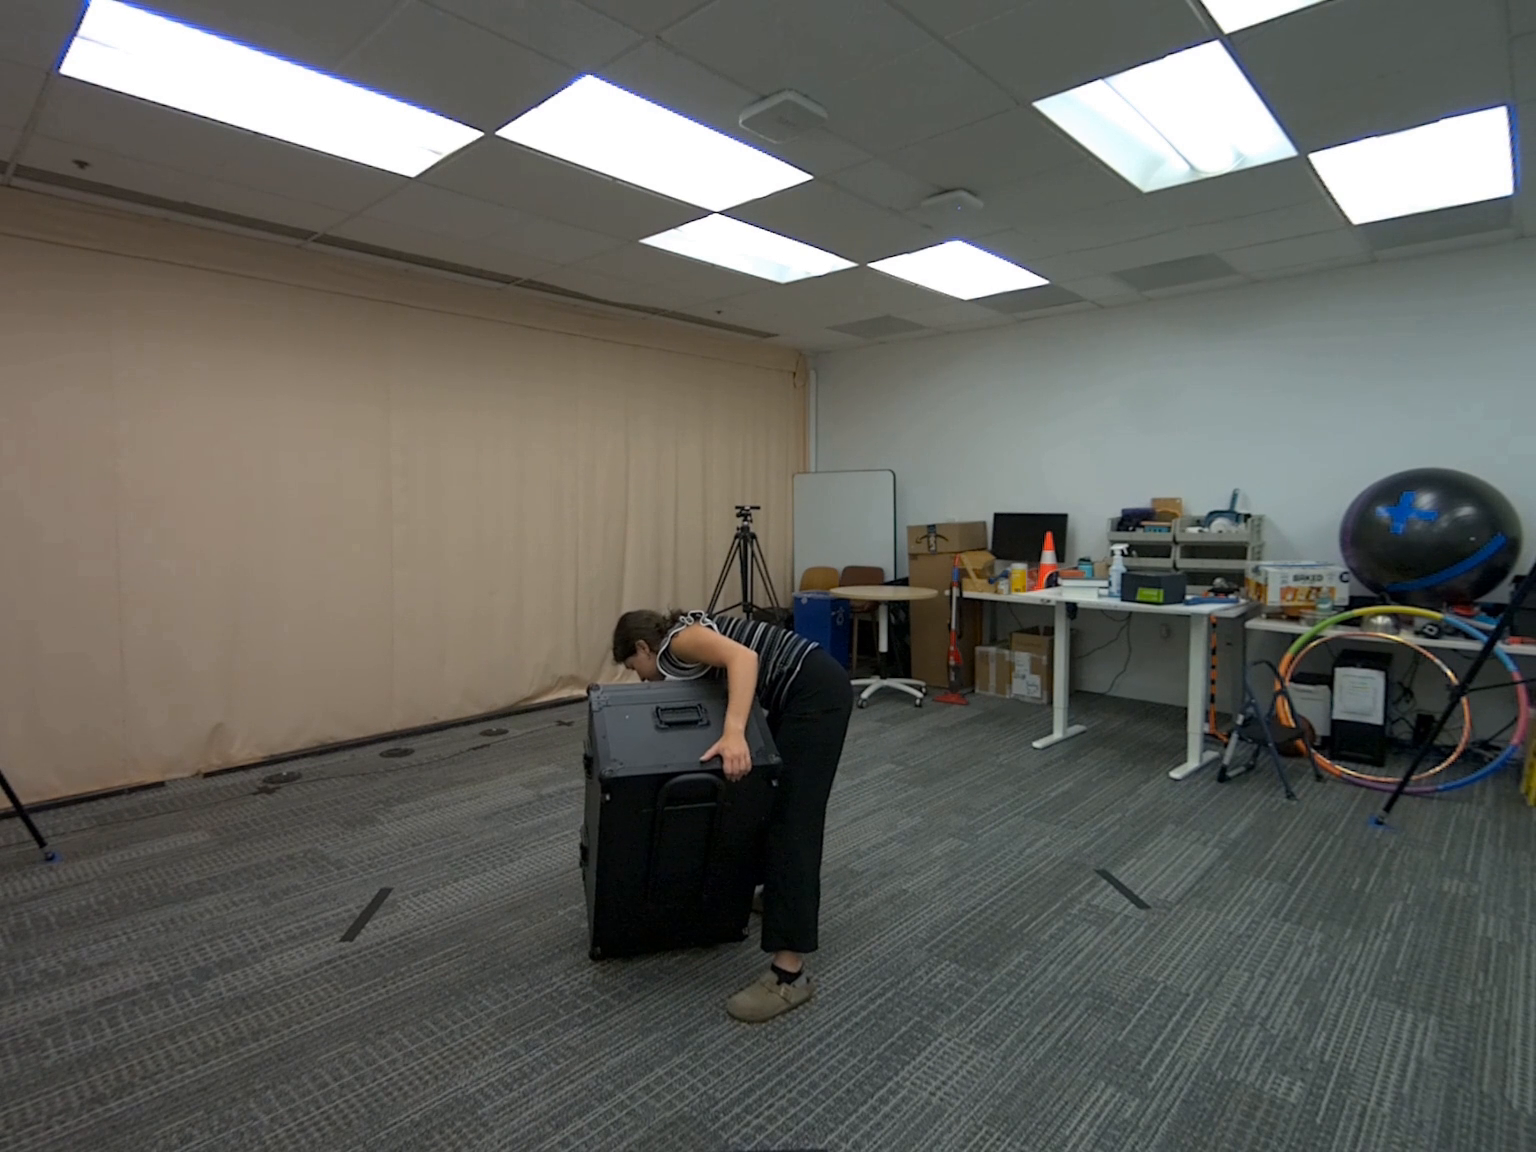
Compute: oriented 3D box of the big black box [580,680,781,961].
[{"bbox_3d":[-0.297,0.761,2.520,0.514,0.851,0.406,2,32,-13],"label":"big black box"}]
